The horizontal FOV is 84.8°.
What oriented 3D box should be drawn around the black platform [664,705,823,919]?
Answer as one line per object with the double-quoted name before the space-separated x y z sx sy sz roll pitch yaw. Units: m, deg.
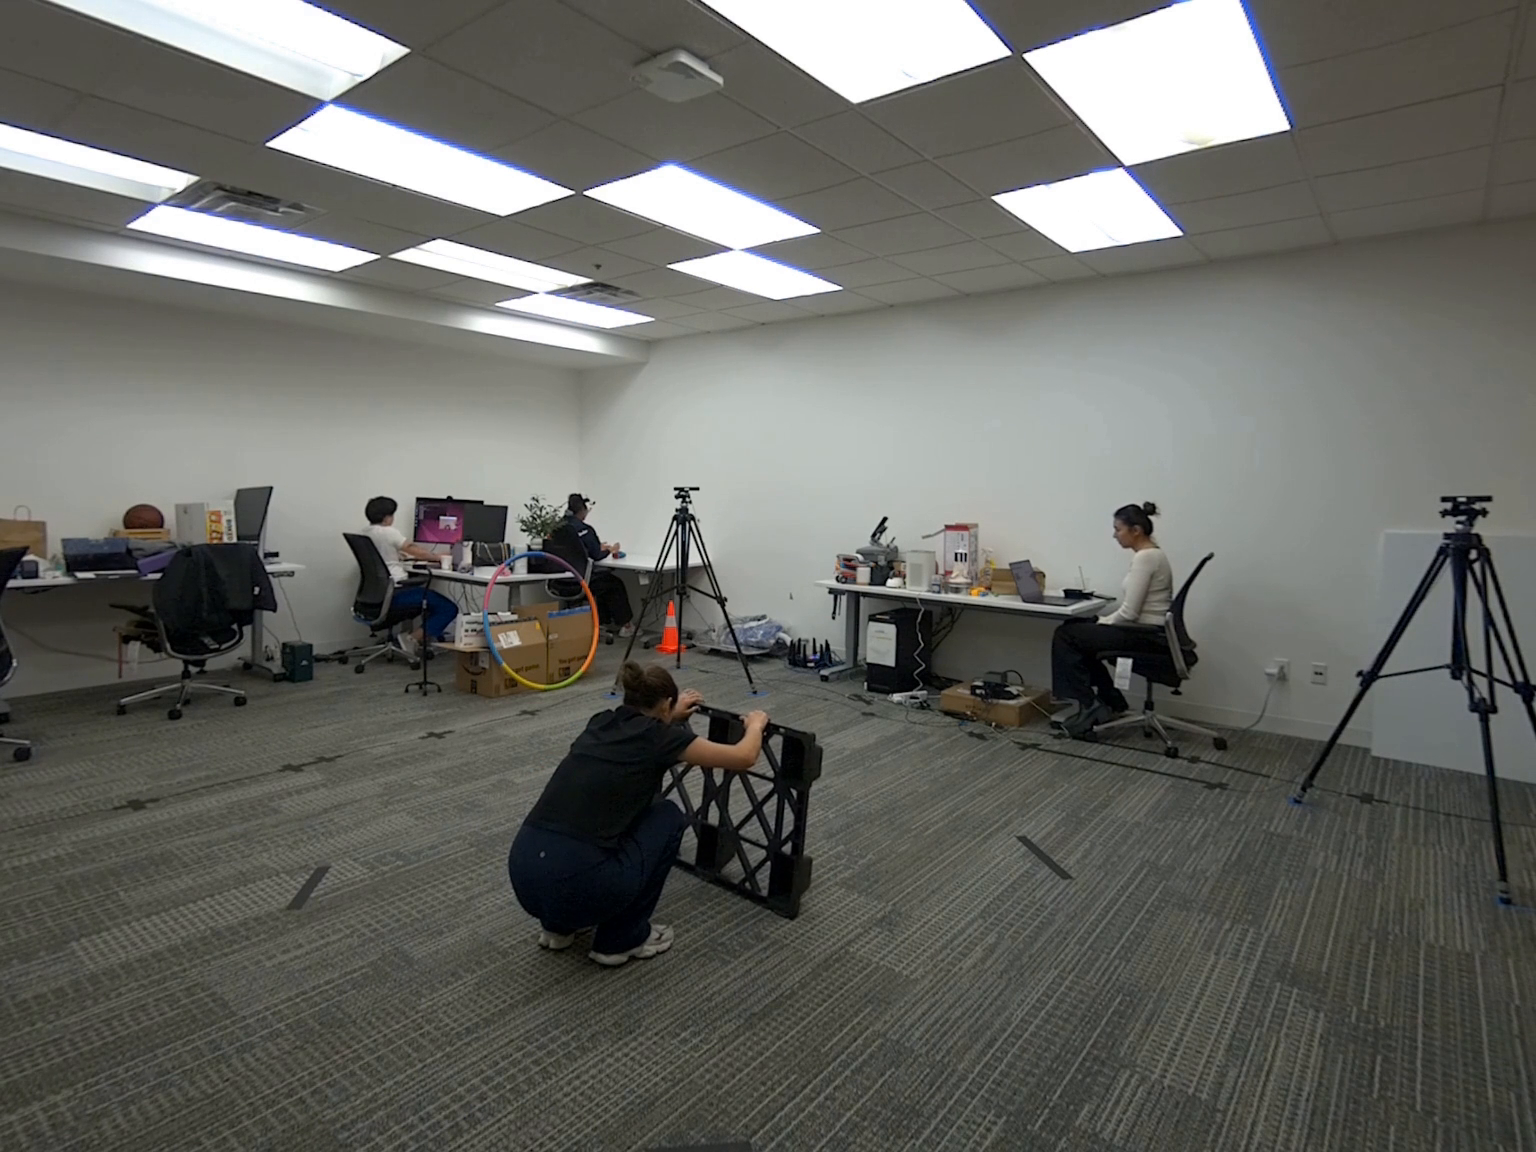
"black platform" -0.145 0.769 3.081 0.833 0.606 0.138 5 -2 43
